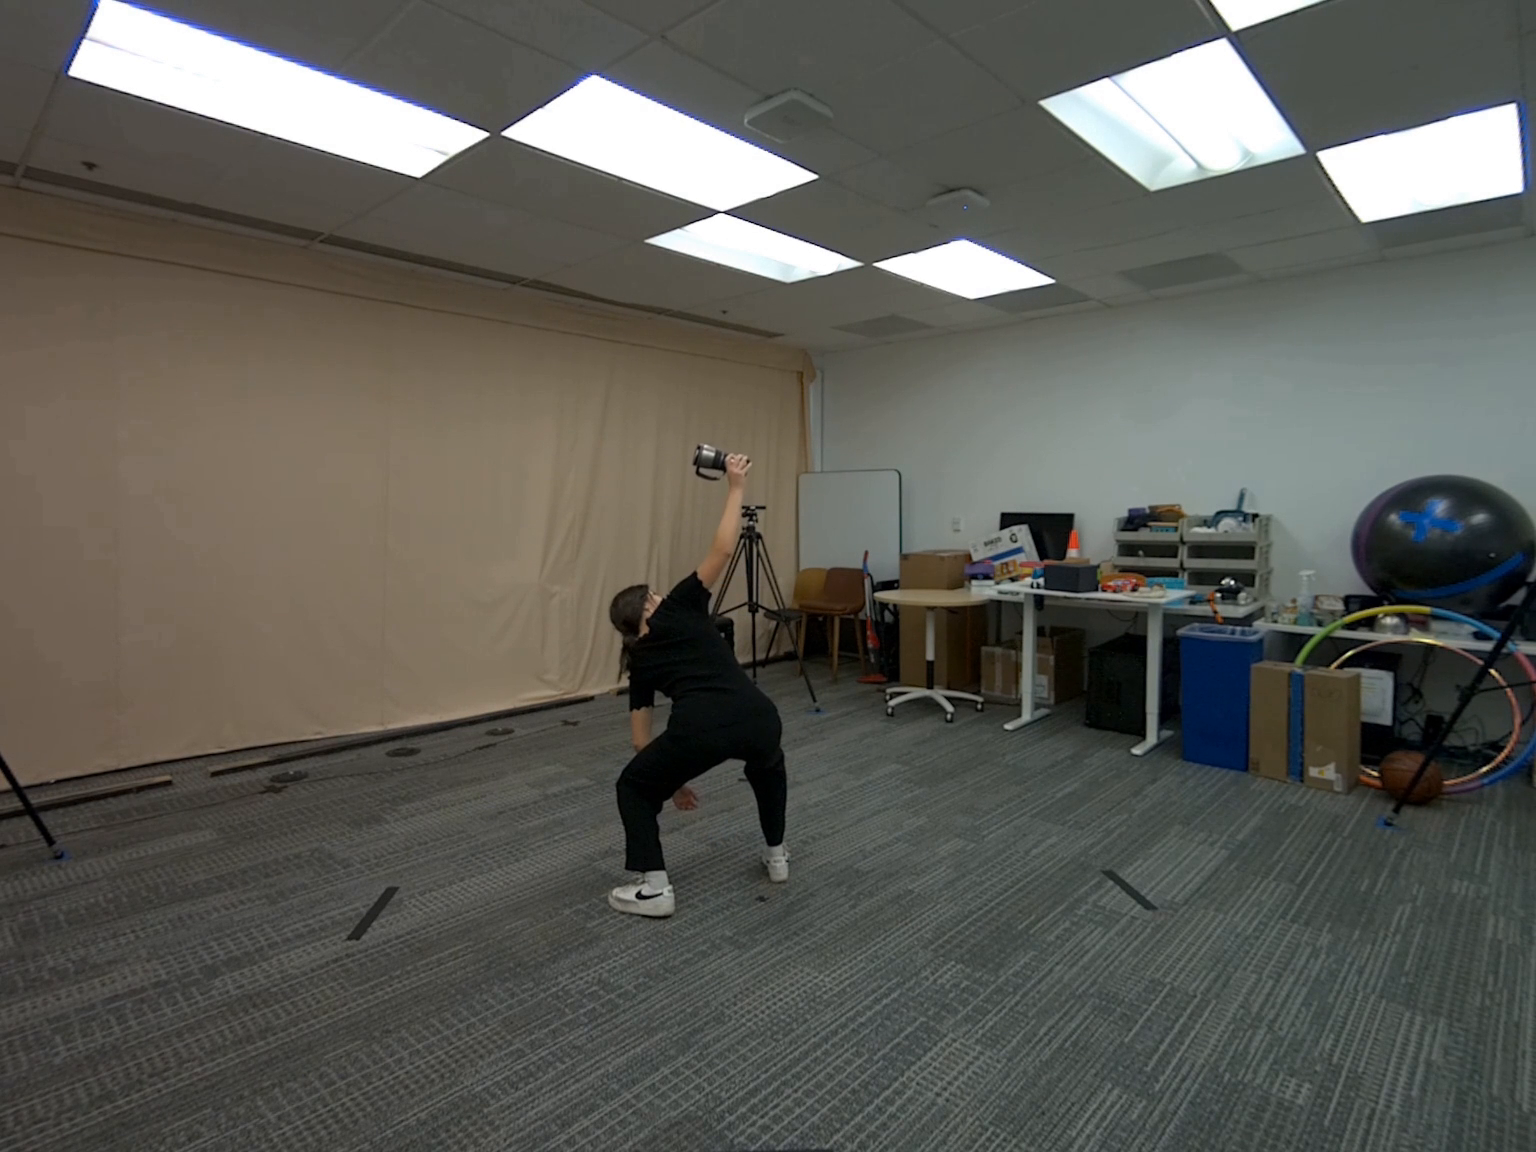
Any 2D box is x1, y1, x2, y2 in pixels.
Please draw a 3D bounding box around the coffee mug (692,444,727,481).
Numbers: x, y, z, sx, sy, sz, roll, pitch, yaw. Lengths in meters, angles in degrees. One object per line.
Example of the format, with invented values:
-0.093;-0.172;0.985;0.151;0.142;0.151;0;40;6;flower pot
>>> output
-0.172;-0.418;3.141;0.201;0.088;0.122;16;-26;-6;coffee mug
